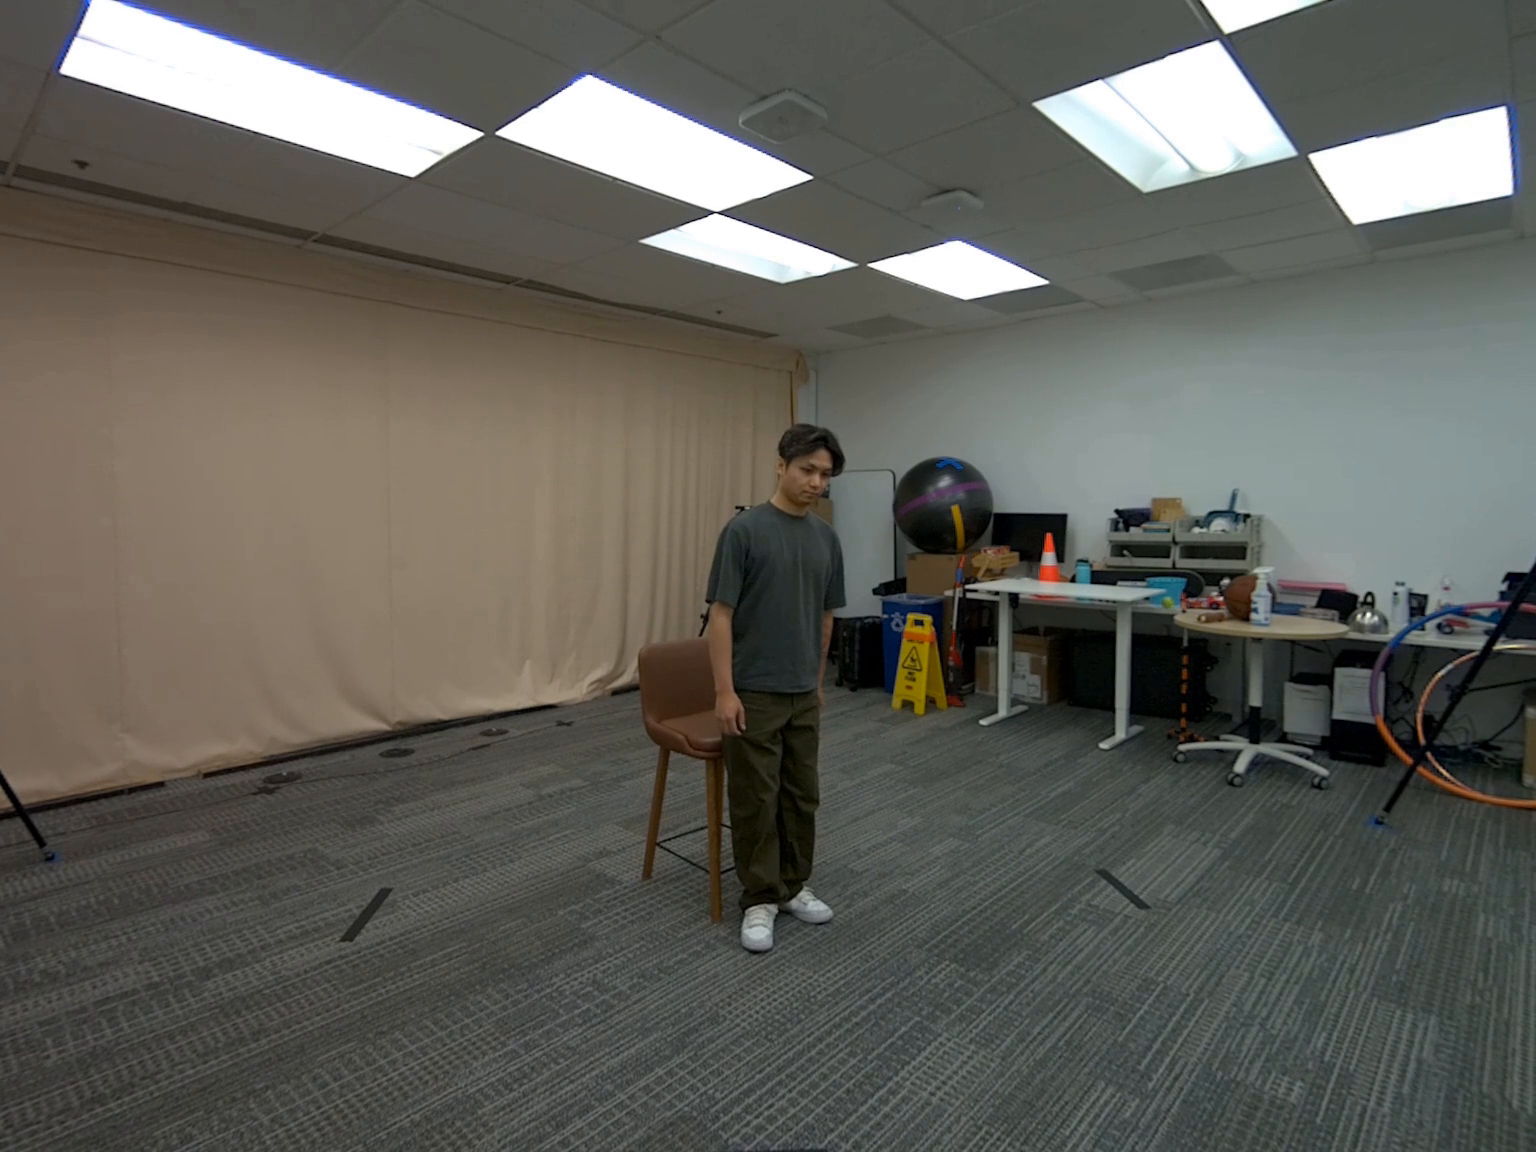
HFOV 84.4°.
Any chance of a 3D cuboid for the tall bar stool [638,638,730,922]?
[{"bbox_3d":[-0.193,0.699,3.086,0.442,0.888,0.483,-4,3,-43],"label":"tall bar stool"}]
